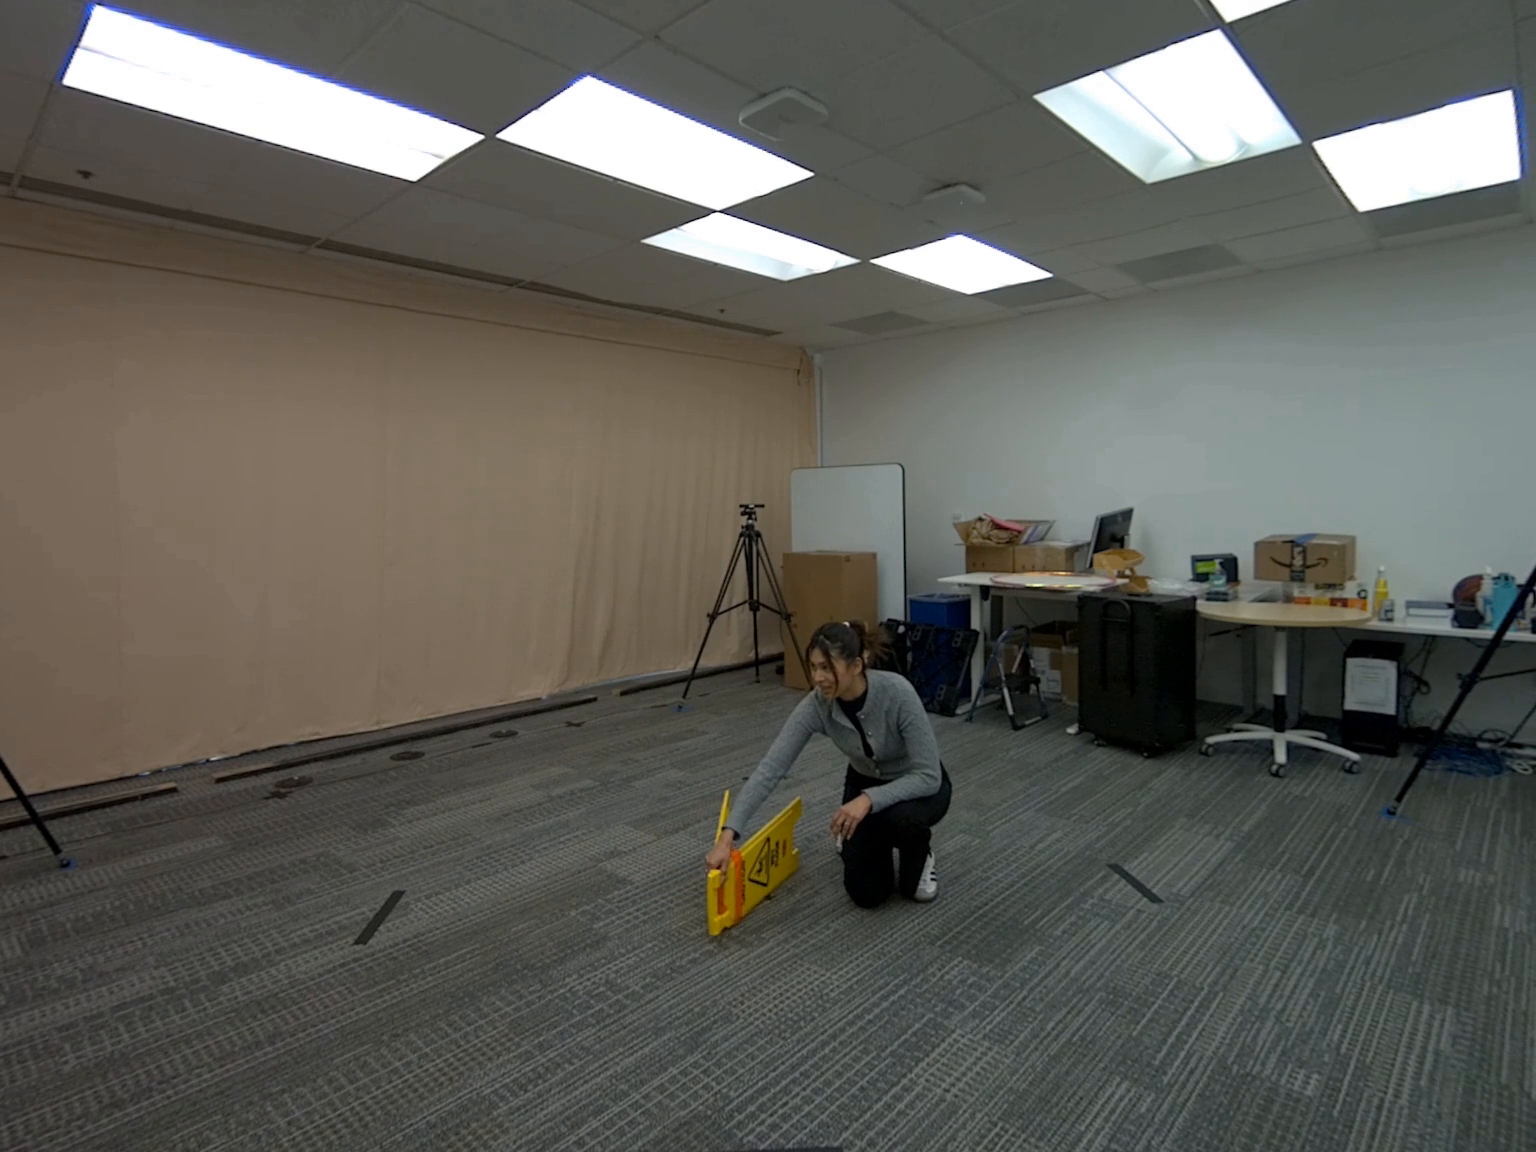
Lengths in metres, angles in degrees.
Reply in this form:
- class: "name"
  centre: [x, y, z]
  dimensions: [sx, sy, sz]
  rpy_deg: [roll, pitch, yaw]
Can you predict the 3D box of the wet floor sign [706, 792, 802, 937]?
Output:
- class: "wet floor sign"
  centre: [-0.097, 1.008, 2.951]
  dimensions: [0.295, 0.281, 0.636]
  rpy_deg: [2, 6, 16]
